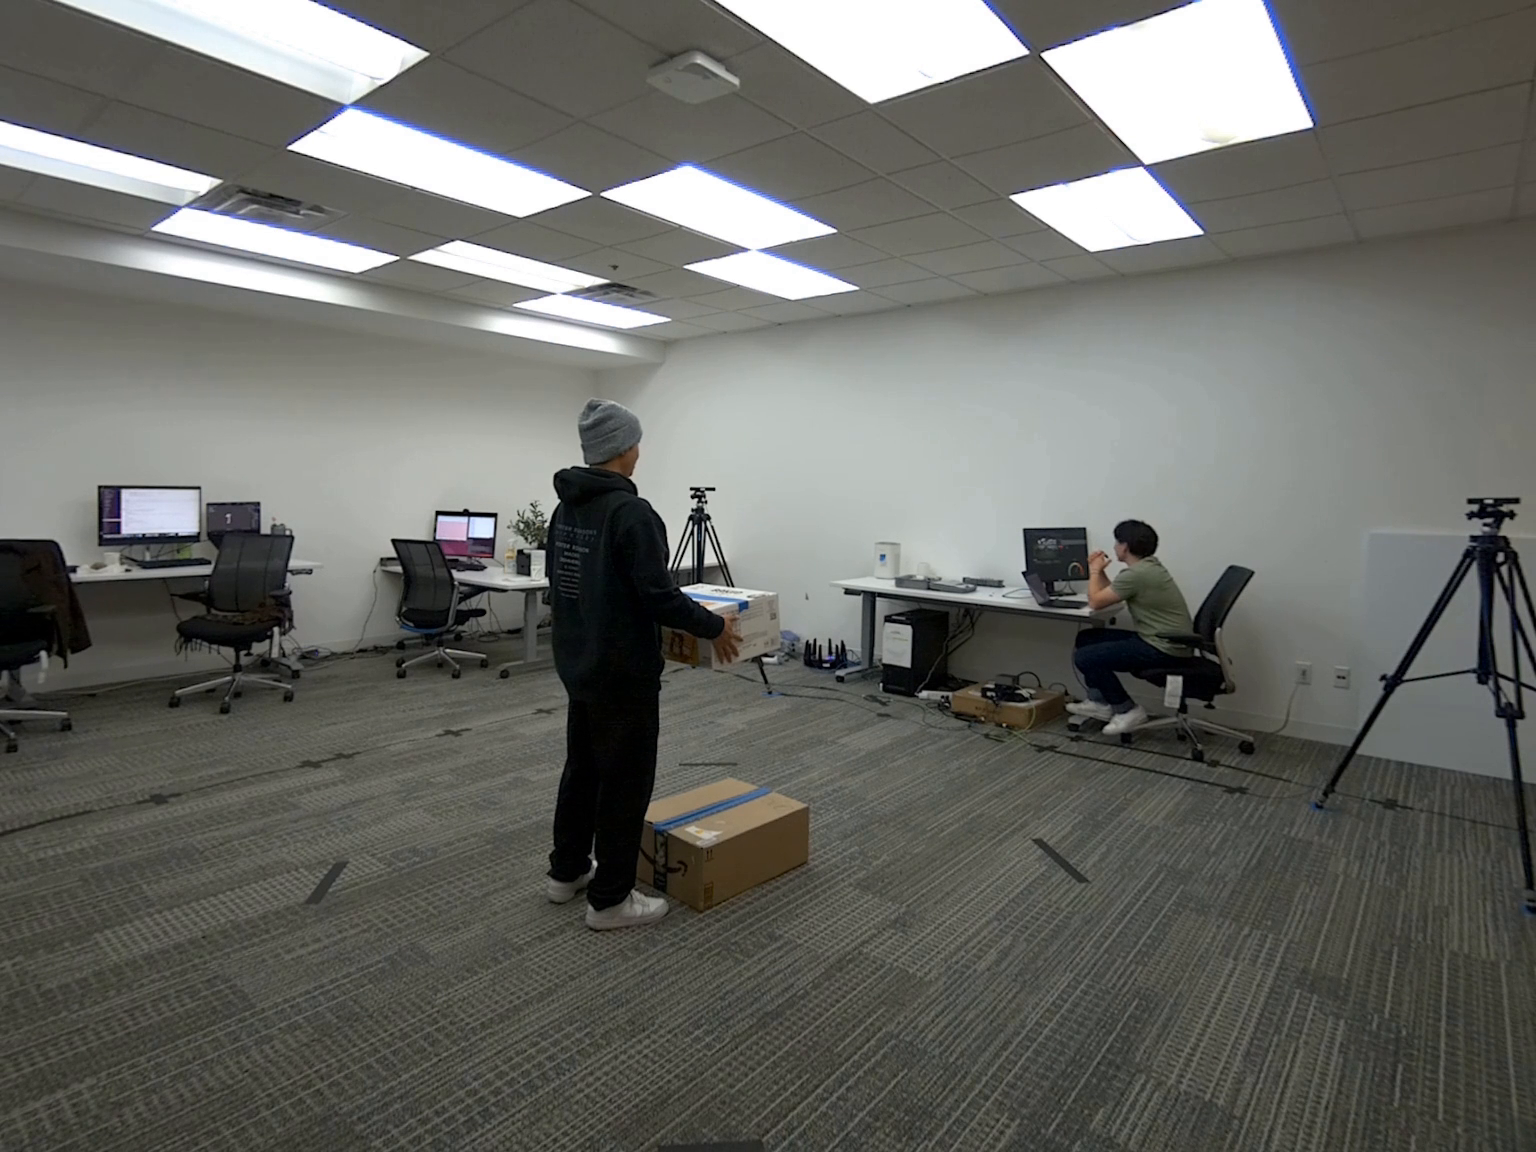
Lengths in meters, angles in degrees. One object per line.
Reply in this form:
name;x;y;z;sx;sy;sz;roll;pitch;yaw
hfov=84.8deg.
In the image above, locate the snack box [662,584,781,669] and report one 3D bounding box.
snack box;-0.232;0.168;3.037;0.419;0.204;0.332;5;13;44
